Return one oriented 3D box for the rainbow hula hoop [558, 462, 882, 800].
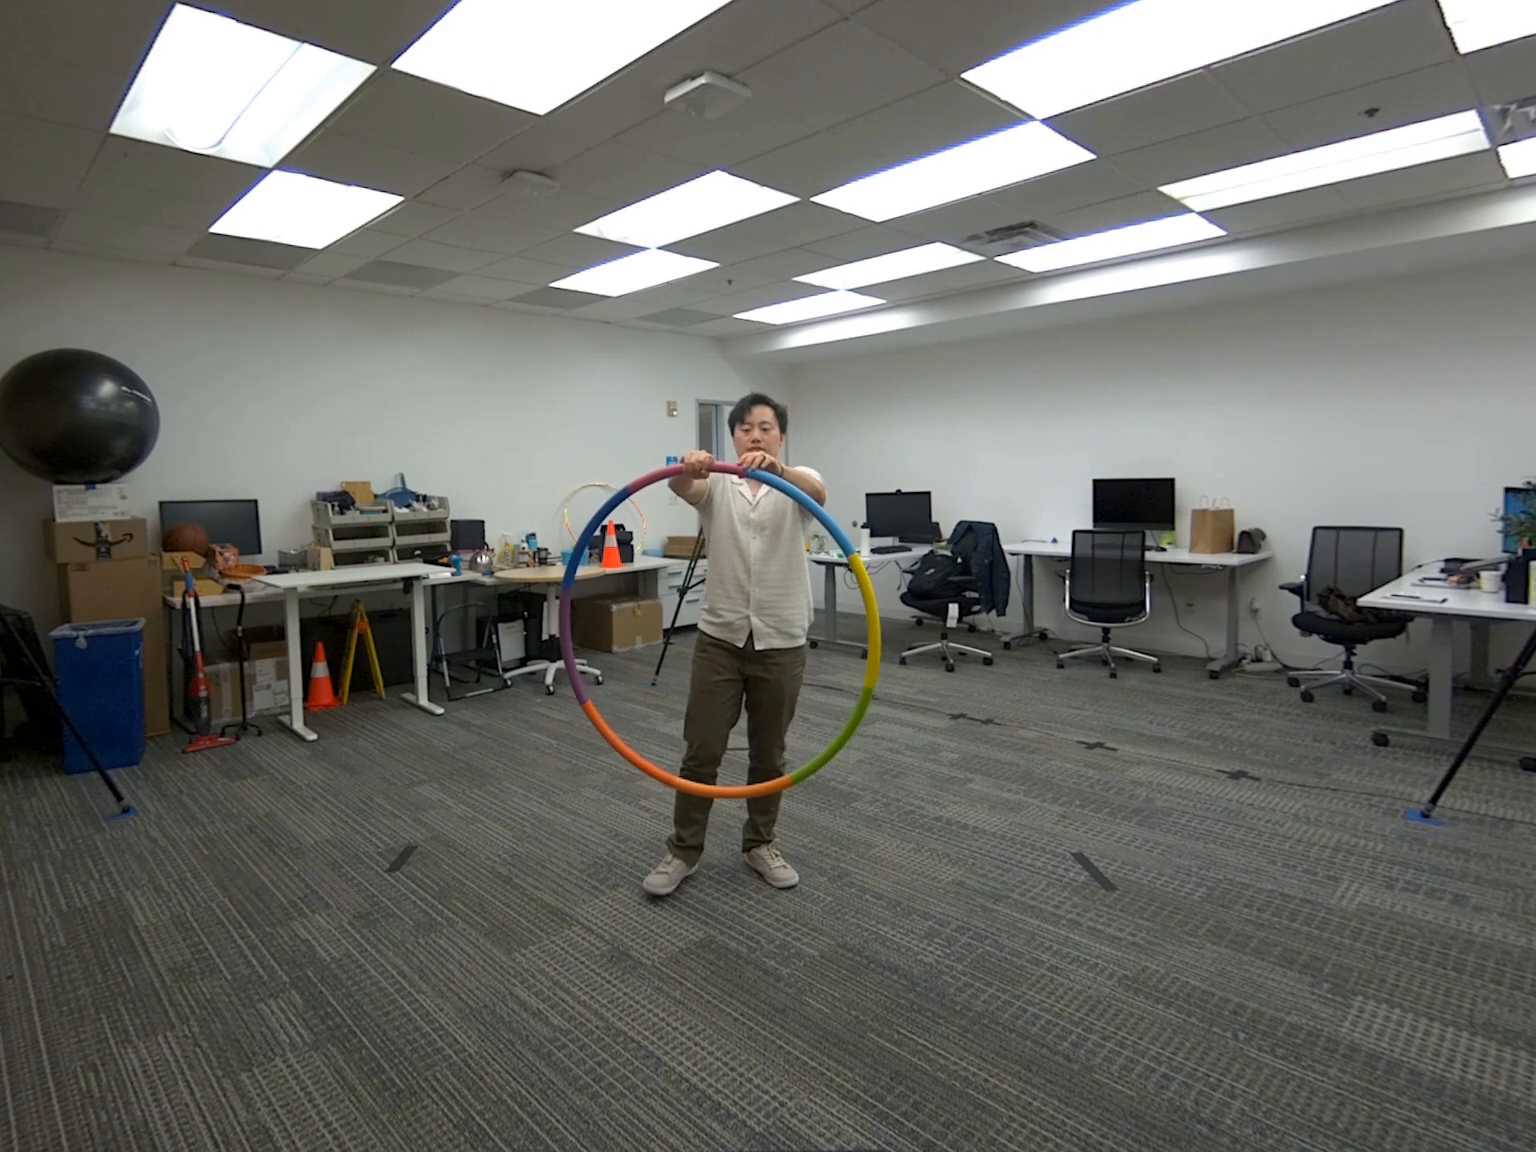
[{"bbox_3d":[-0.164,0.170,2.469,0.994,0.971,0.035,1,8,17],"label":"rainbow hula hoop"}]
